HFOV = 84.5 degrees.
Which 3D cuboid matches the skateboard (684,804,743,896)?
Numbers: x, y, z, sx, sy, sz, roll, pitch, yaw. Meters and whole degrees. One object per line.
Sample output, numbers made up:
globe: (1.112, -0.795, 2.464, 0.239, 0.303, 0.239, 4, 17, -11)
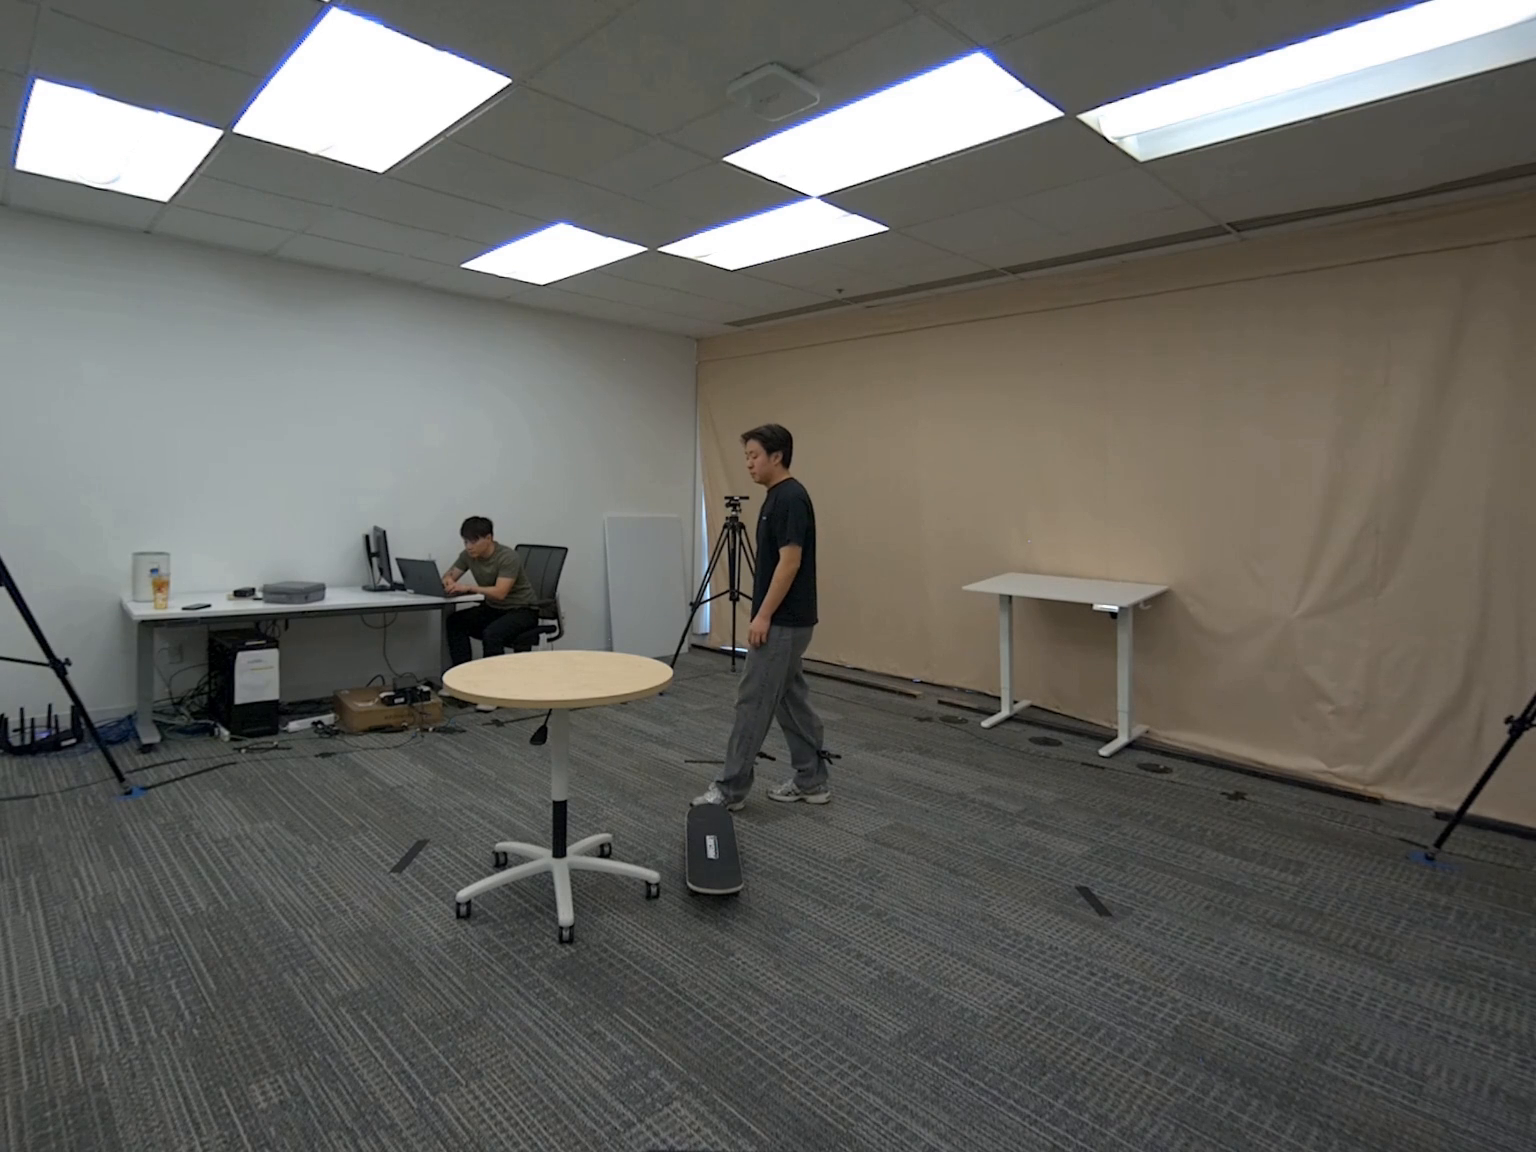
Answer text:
skateboard: (-0.221, 1.044, 3.143, 0.192, 0.110, 0.792, 0, 6, -7)
